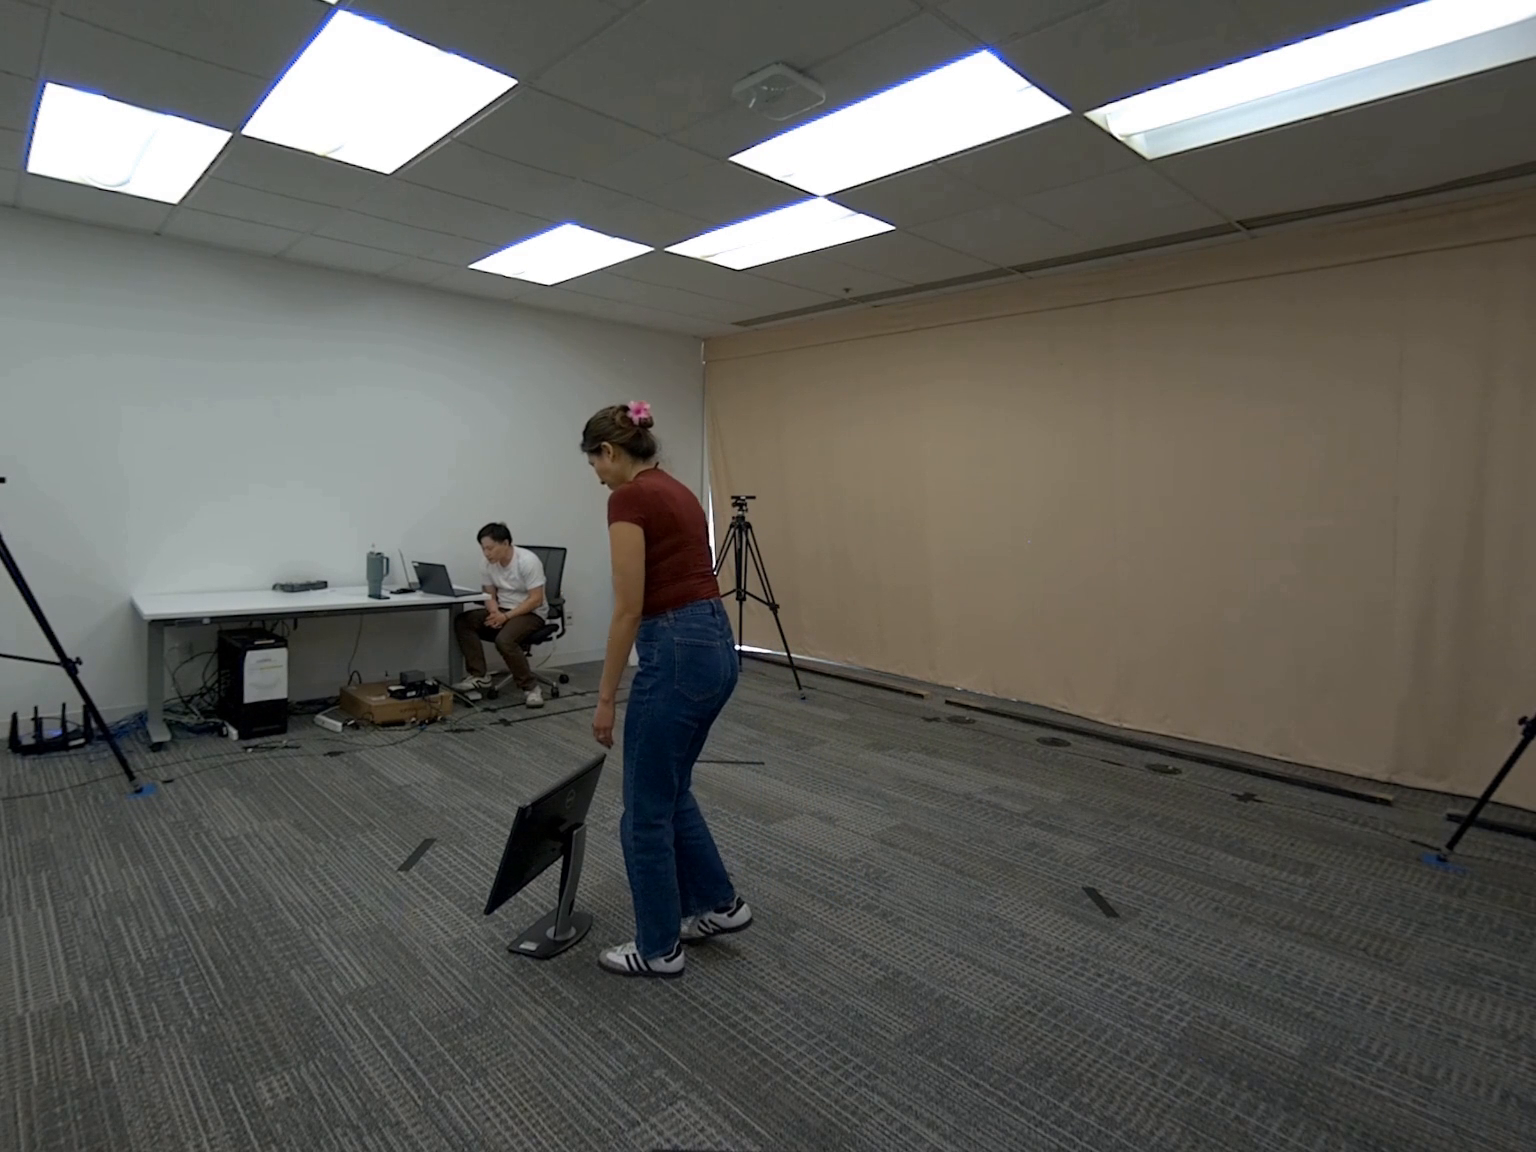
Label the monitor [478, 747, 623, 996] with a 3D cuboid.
[{"bbox_3d":[-0.658,0.880,2.637,0.189,0.521,0.534,5,5,14],"label":"monitor"}]
